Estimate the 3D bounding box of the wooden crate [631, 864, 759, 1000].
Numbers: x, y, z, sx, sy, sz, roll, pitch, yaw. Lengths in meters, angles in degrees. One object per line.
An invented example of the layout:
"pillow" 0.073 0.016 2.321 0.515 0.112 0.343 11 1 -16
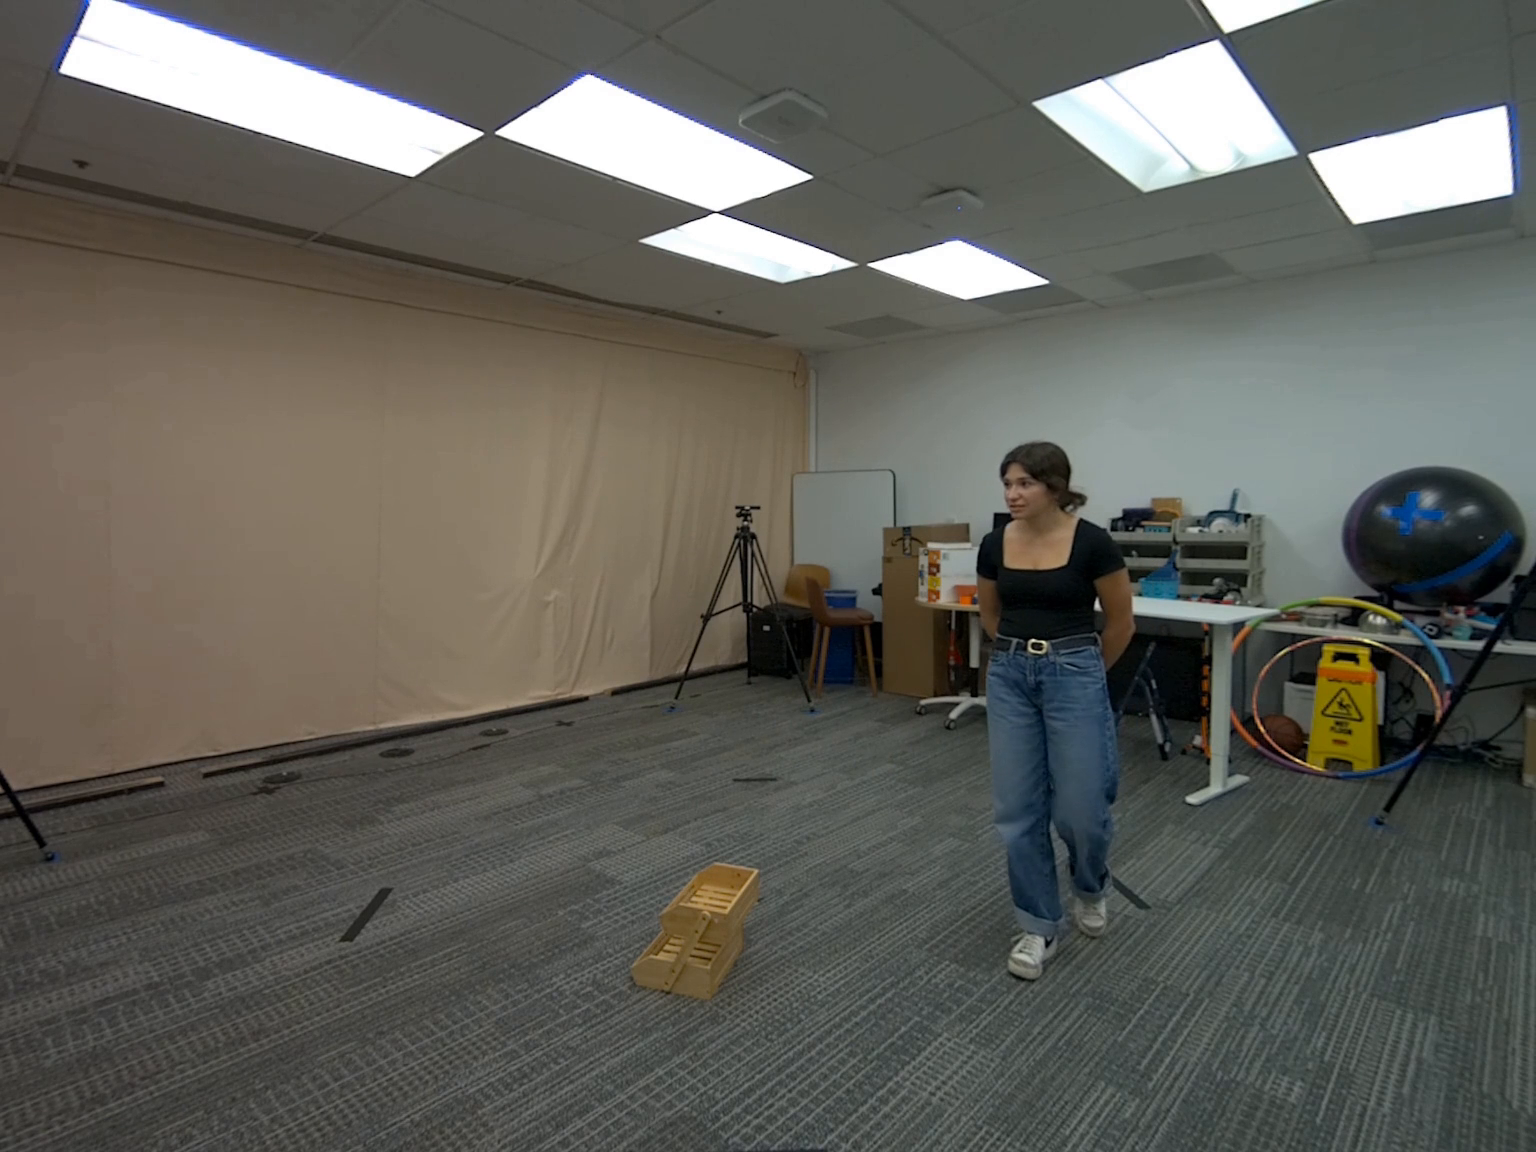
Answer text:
"wooden crate" -0.217 1.051 2.536 0.308 0.273 0.319 1 4 18
